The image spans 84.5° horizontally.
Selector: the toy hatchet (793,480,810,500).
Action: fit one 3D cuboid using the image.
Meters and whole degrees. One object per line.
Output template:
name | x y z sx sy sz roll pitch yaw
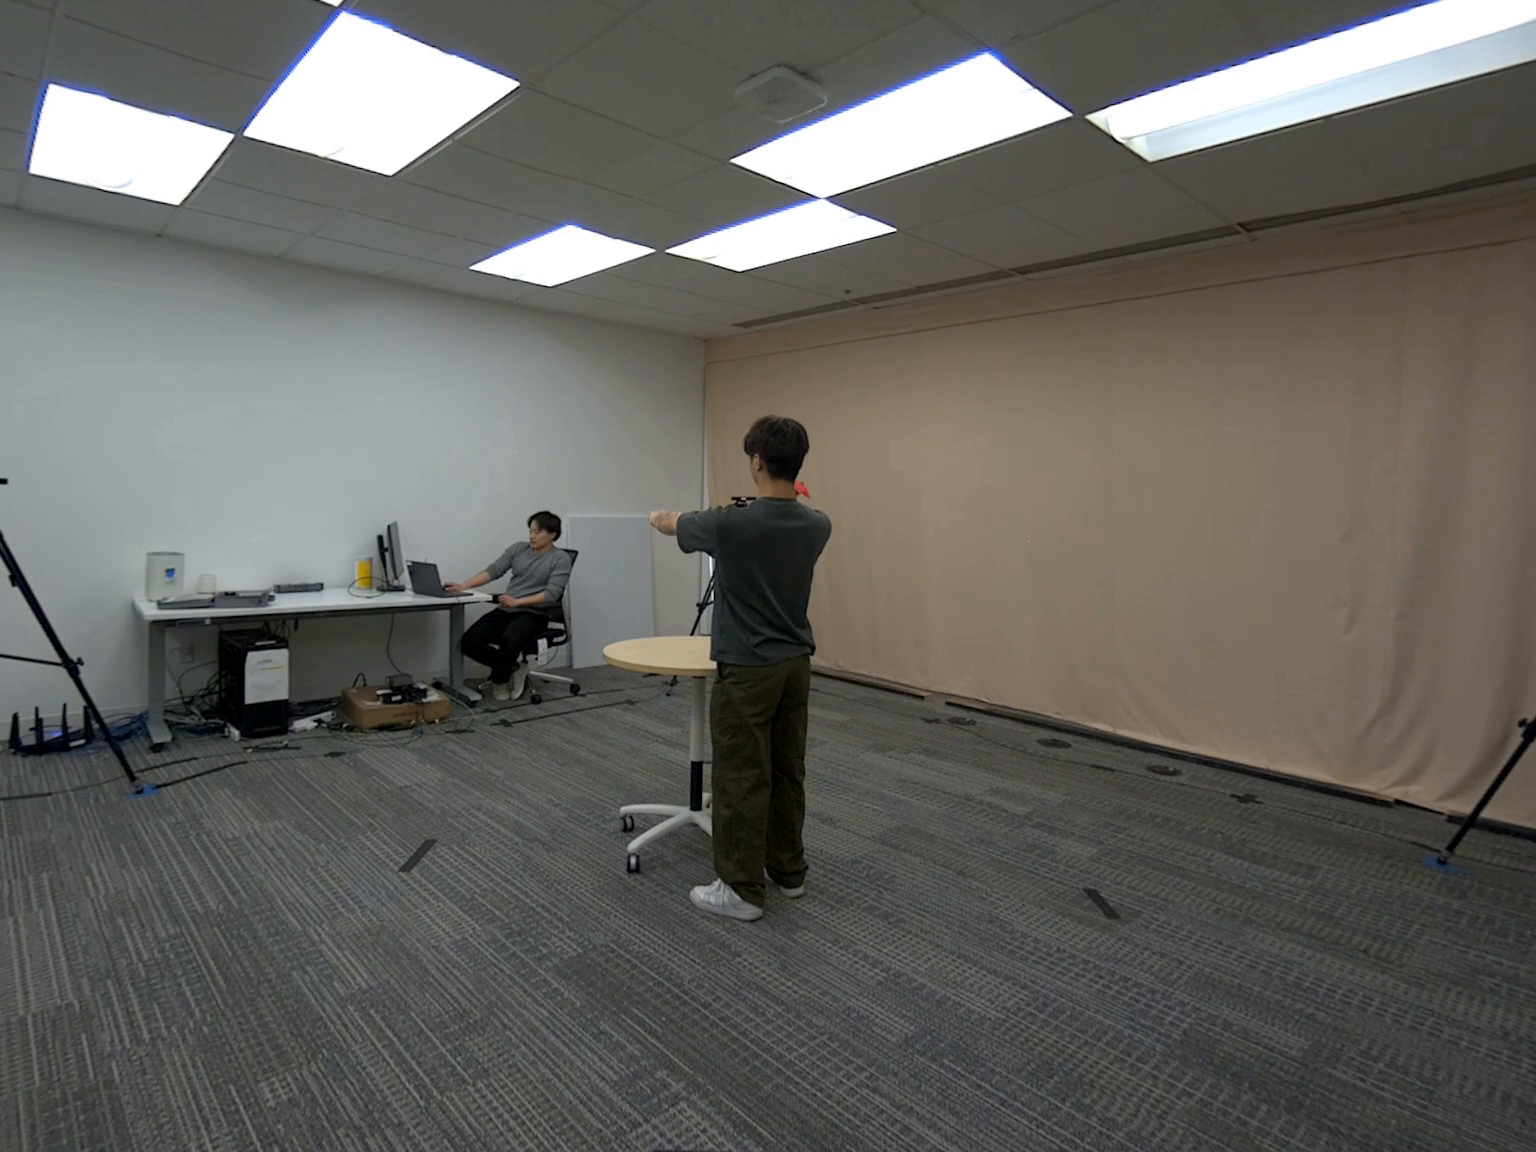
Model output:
toy hatchet | 0.037 -0.311 3.501 0.268 0.131 0.030 -32 1 -21
